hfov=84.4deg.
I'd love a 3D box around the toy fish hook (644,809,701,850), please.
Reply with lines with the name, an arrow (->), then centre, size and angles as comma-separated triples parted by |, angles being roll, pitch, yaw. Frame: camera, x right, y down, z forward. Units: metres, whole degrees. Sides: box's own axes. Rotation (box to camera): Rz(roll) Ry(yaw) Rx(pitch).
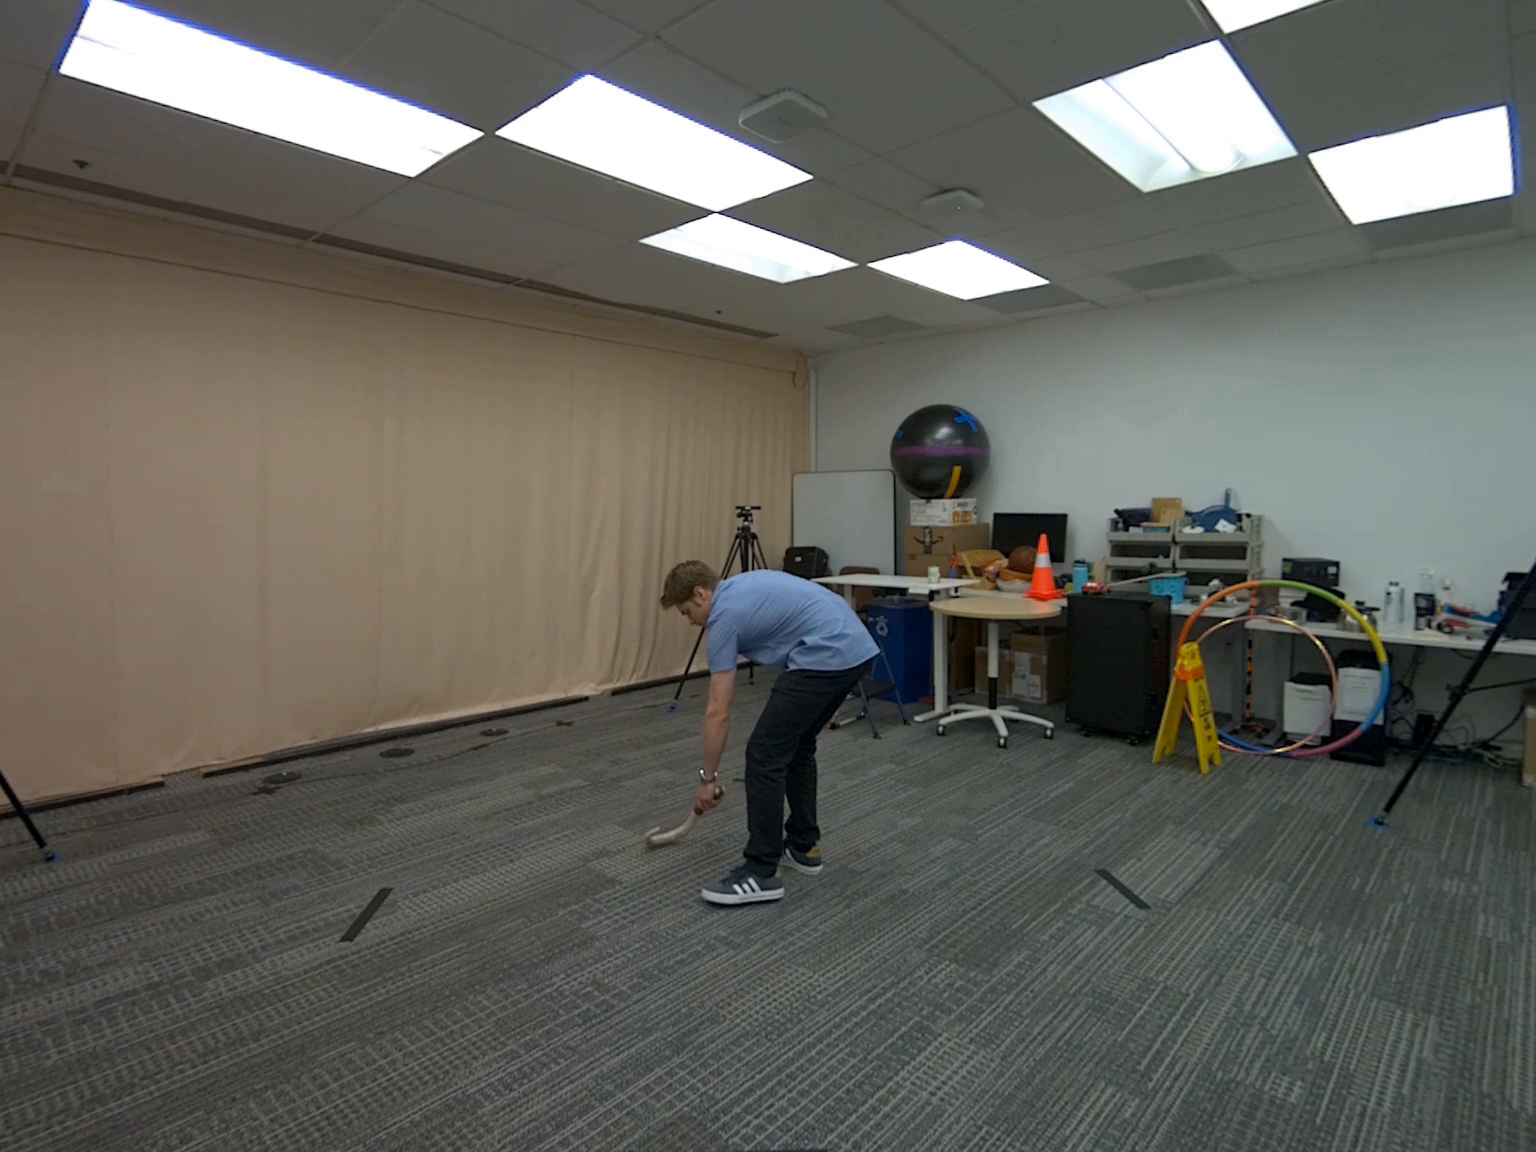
toy fish hook -> -0.340, 0.956, 3.303 | 0.218, 0.049, 0.508 | -4, -35, -37
